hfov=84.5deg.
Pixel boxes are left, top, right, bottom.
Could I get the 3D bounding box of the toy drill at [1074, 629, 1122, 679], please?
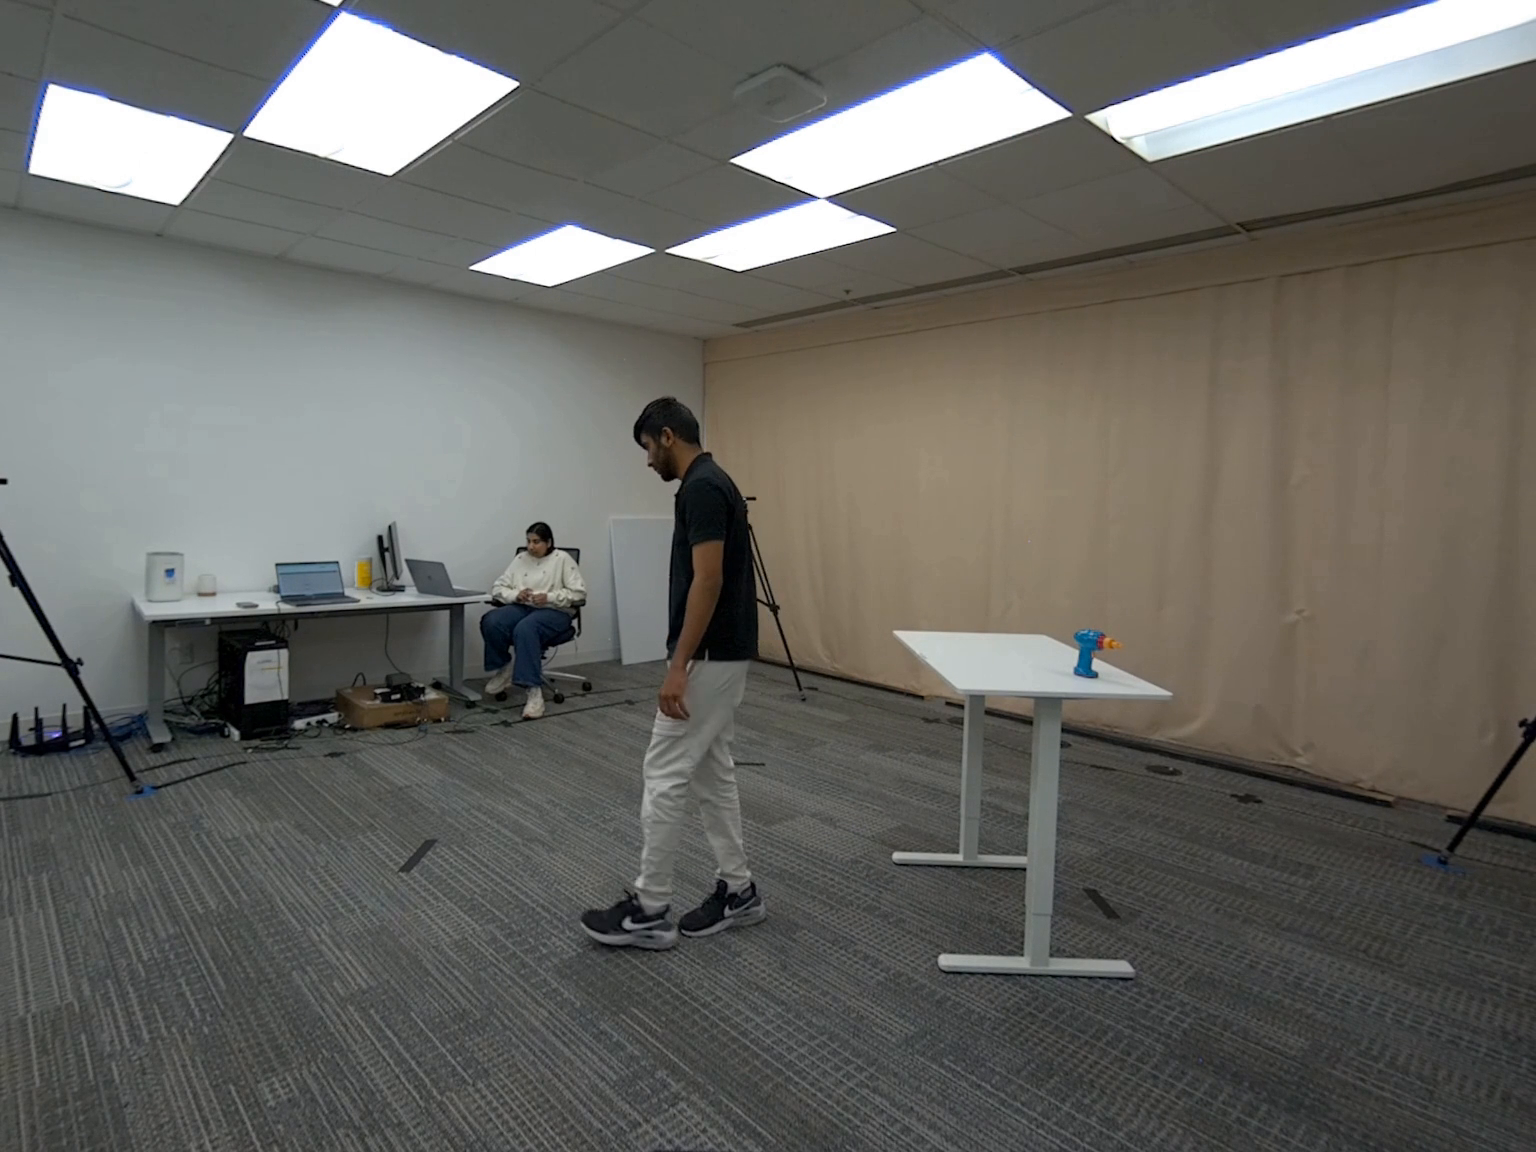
[{"bbox_3d":[0.976,0.235,2.523,0.060,0.145,0.174,-1,6,-29],"label":"toy drill"}]
